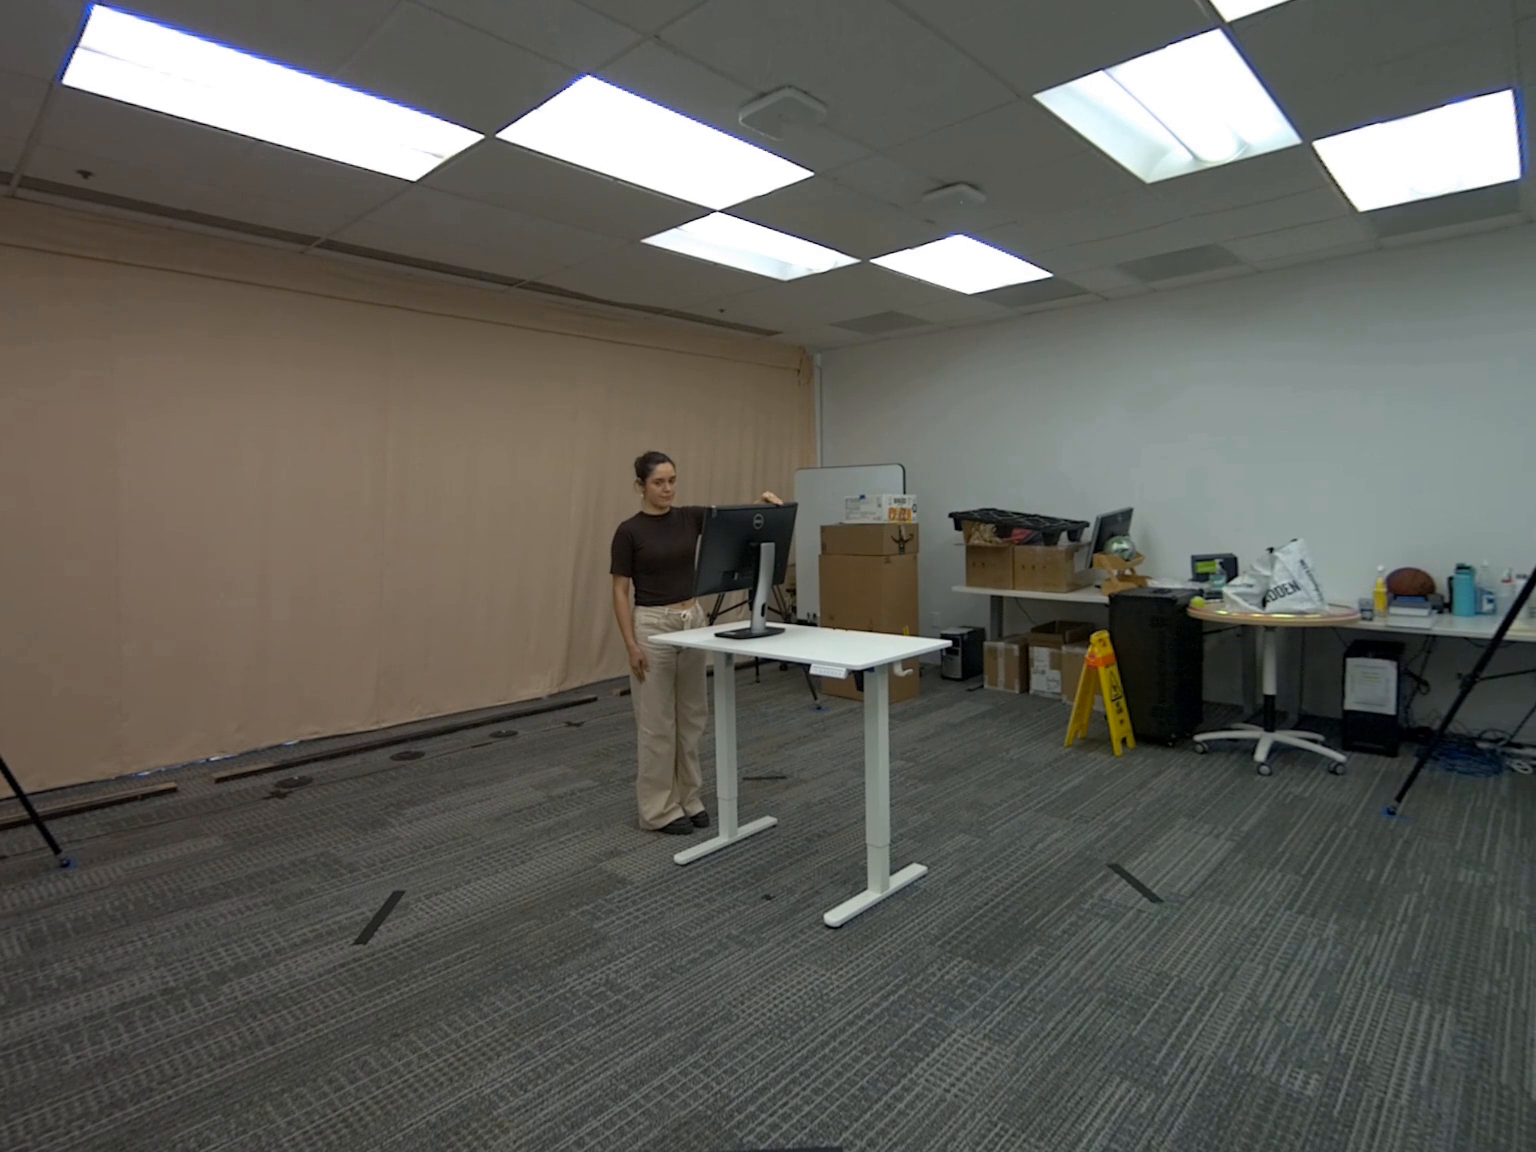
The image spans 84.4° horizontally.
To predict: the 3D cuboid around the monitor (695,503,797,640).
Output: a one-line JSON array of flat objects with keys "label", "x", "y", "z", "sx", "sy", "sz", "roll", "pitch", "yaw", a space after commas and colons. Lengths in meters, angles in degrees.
[{"label": "monitor", "x": -0.056, "y": -0.018, "z": 3.307, "sx": 0.193, "sy": 0.521, "sz": 0.523, "roll": 5, "pitch": 7, "yaw": 40}]
